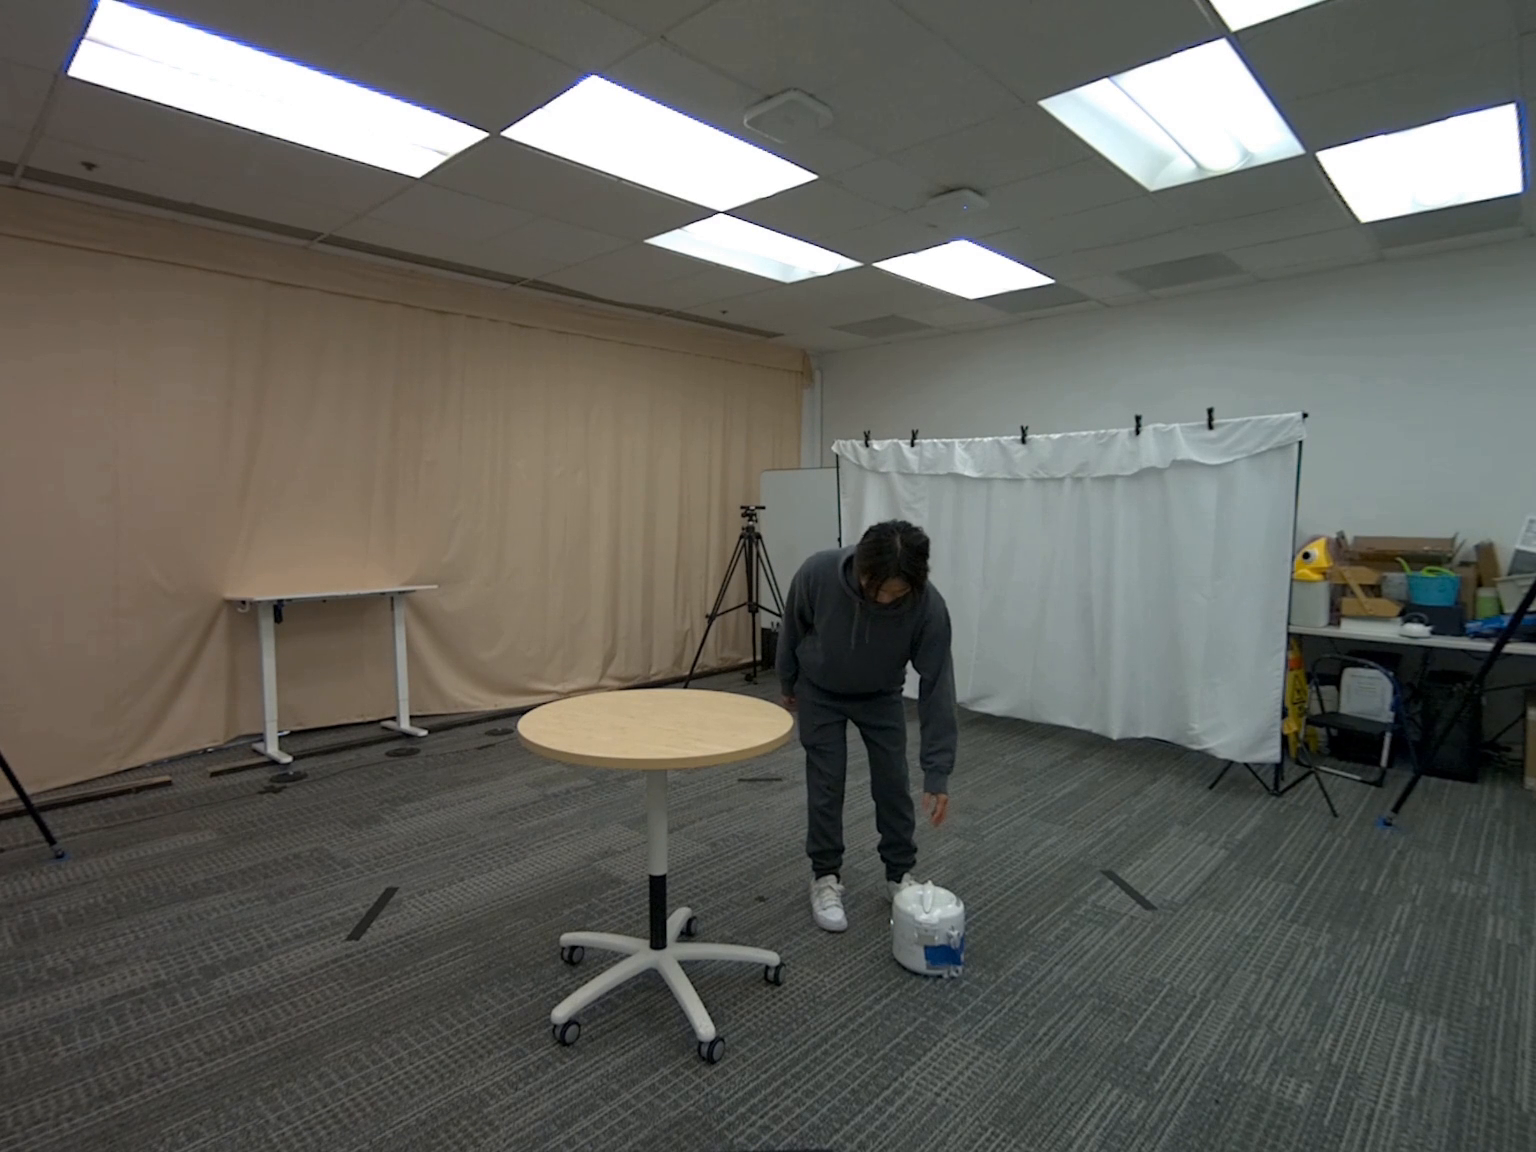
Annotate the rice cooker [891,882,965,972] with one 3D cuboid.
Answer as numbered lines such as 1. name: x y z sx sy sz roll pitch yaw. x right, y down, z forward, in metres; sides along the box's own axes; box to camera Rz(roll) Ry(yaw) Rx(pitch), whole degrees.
1. rice cooker: 0.485 1.057 2.562 0.221 0.232 0.217 2 5 17
